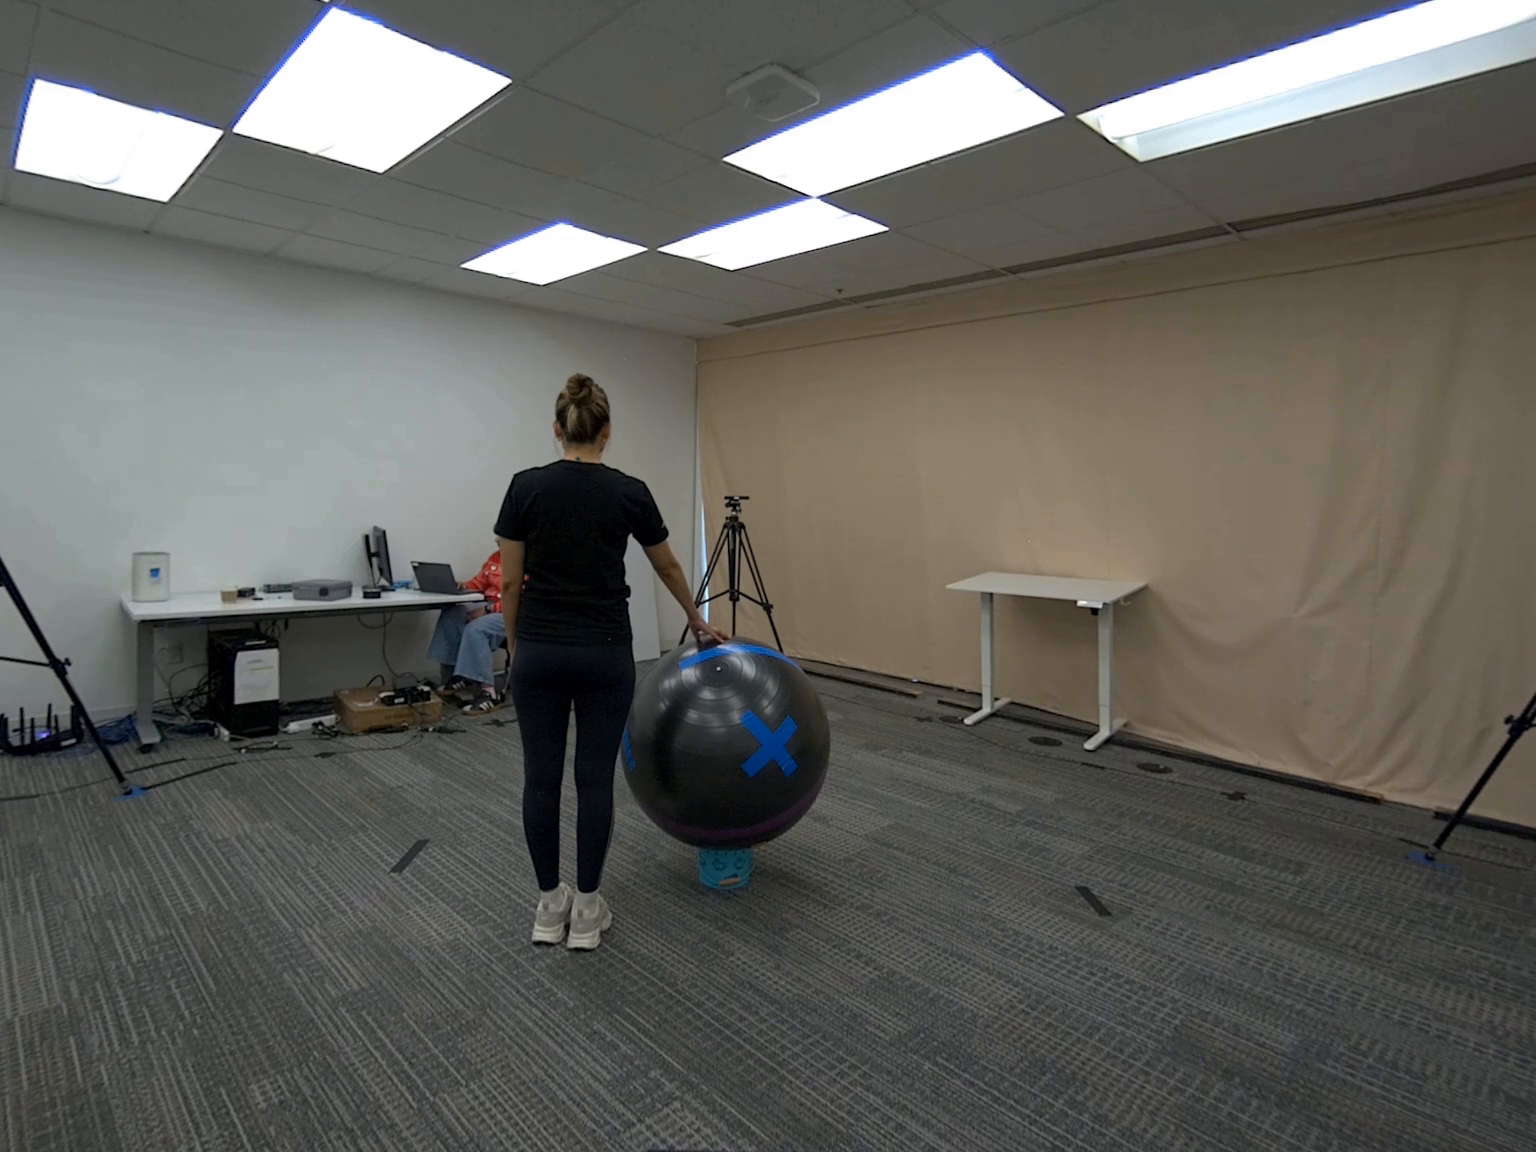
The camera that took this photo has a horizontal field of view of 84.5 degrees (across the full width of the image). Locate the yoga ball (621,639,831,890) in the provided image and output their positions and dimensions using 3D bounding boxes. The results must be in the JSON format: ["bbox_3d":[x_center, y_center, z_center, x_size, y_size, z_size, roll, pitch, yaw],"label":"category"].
[{"bbox_3d":[-0.157,0.605,3.046,0.757,0.756,0.761,1,4,-1],"label":"yoga ball"}]
